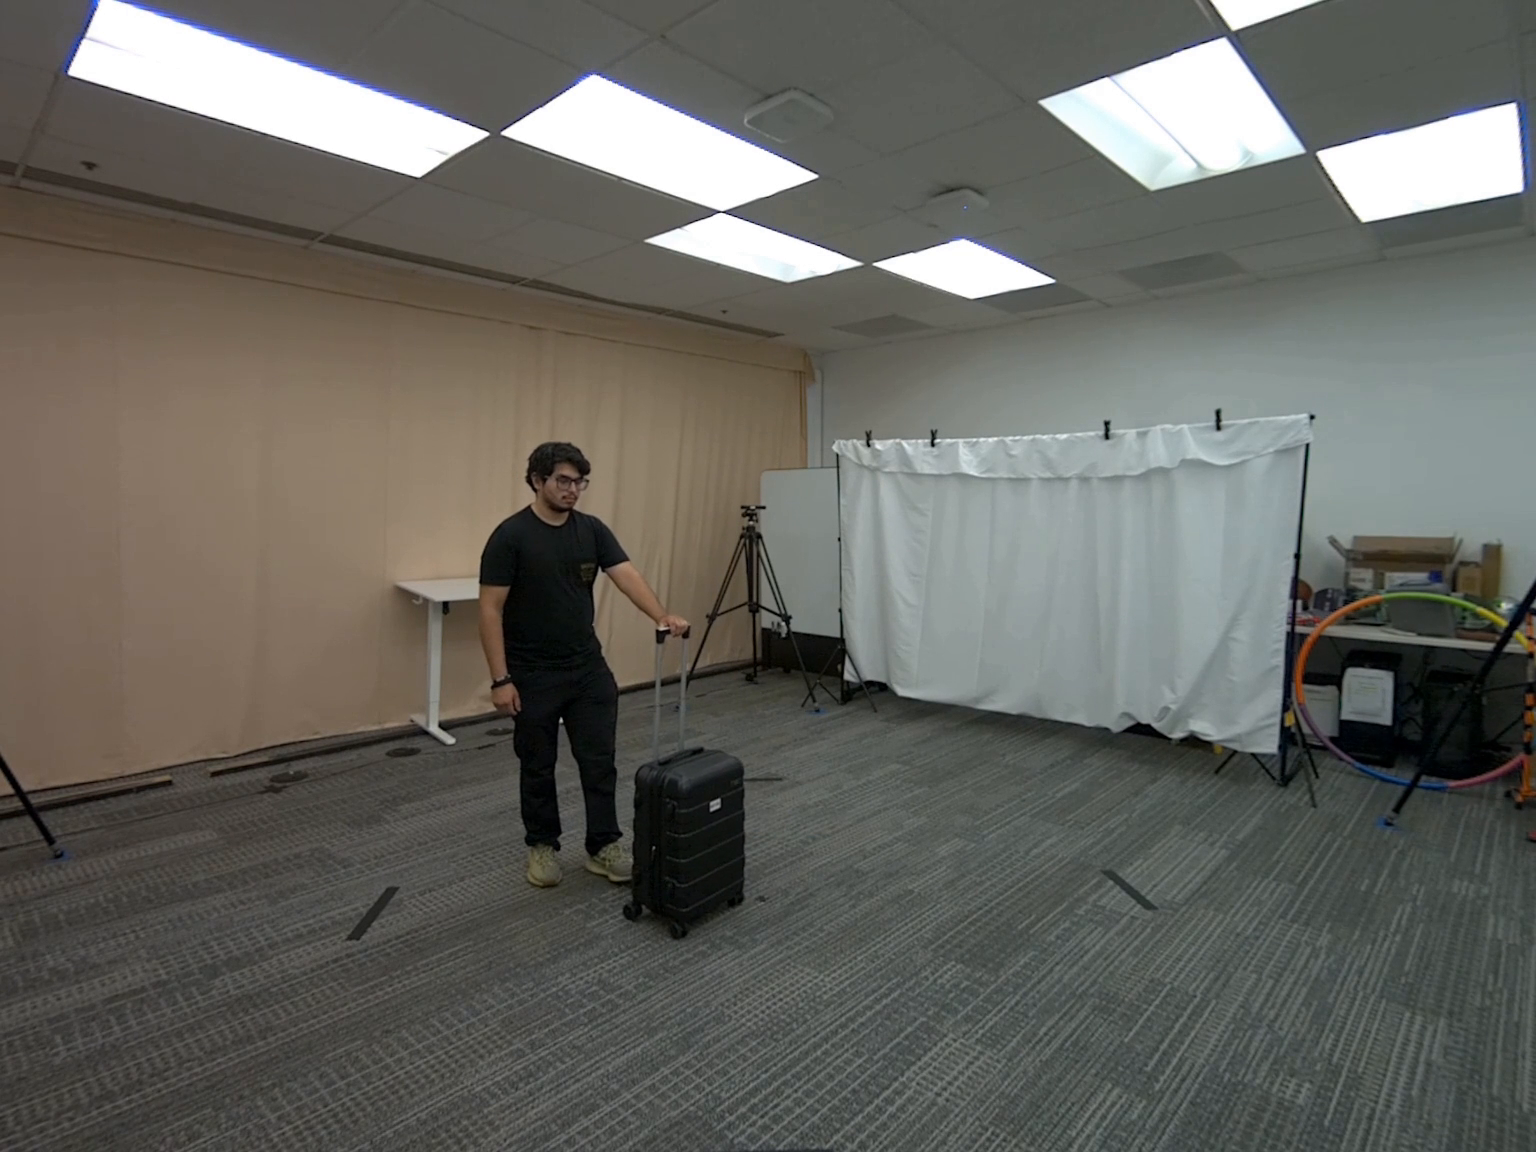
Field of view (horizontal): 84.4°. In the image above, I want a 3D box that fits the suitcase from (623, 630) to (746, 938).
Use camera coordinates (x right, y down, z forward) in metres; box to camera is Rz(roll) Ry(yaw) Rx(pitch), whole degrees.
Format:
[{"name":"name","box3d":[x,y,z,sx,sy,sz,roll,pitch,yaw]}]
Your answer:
[{"name":"suitcase","box3d":[-0.254,0.679,2.847,0.266,0.975,0.372,8,7,38]}]
